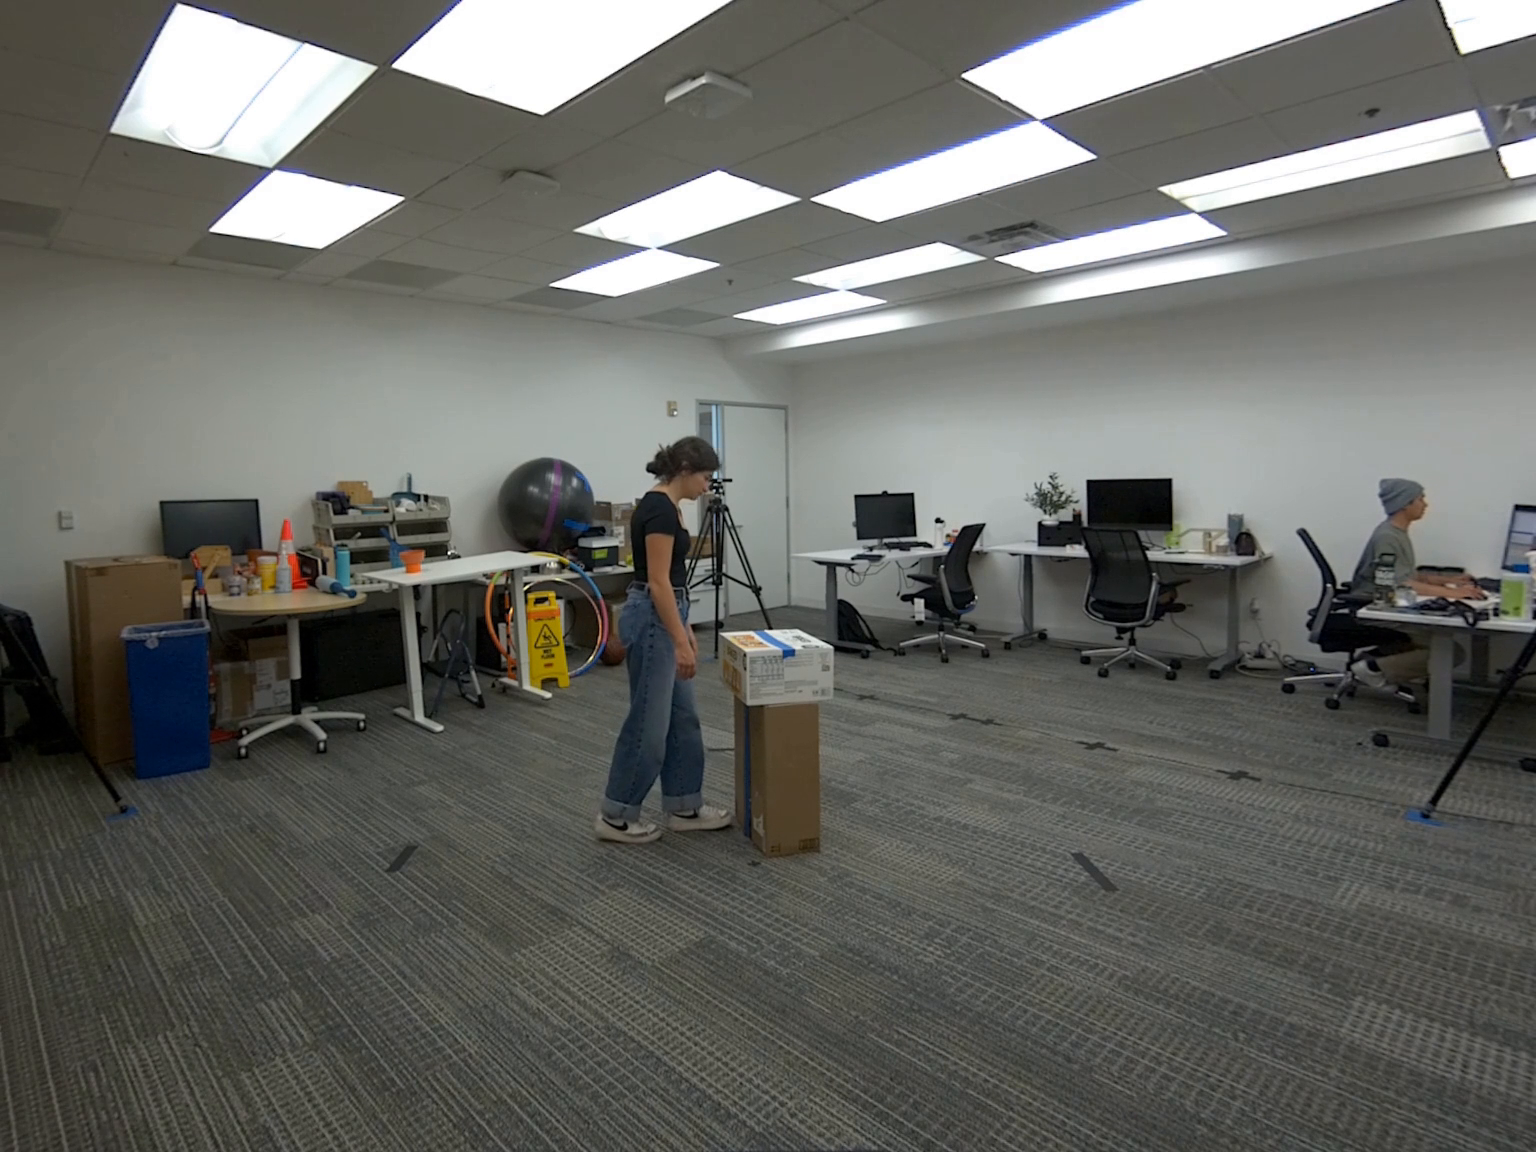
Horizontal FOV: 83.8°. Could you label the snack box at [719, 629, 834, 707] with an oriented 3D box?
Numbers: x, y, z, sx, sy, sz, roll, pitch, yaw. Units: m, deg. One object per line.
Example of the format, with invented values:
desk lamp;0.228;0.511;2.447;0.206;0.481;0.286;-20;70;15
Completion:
snack box;0.021;0.347;3.338;0.335;0.205;0.413;-2;6;-16
